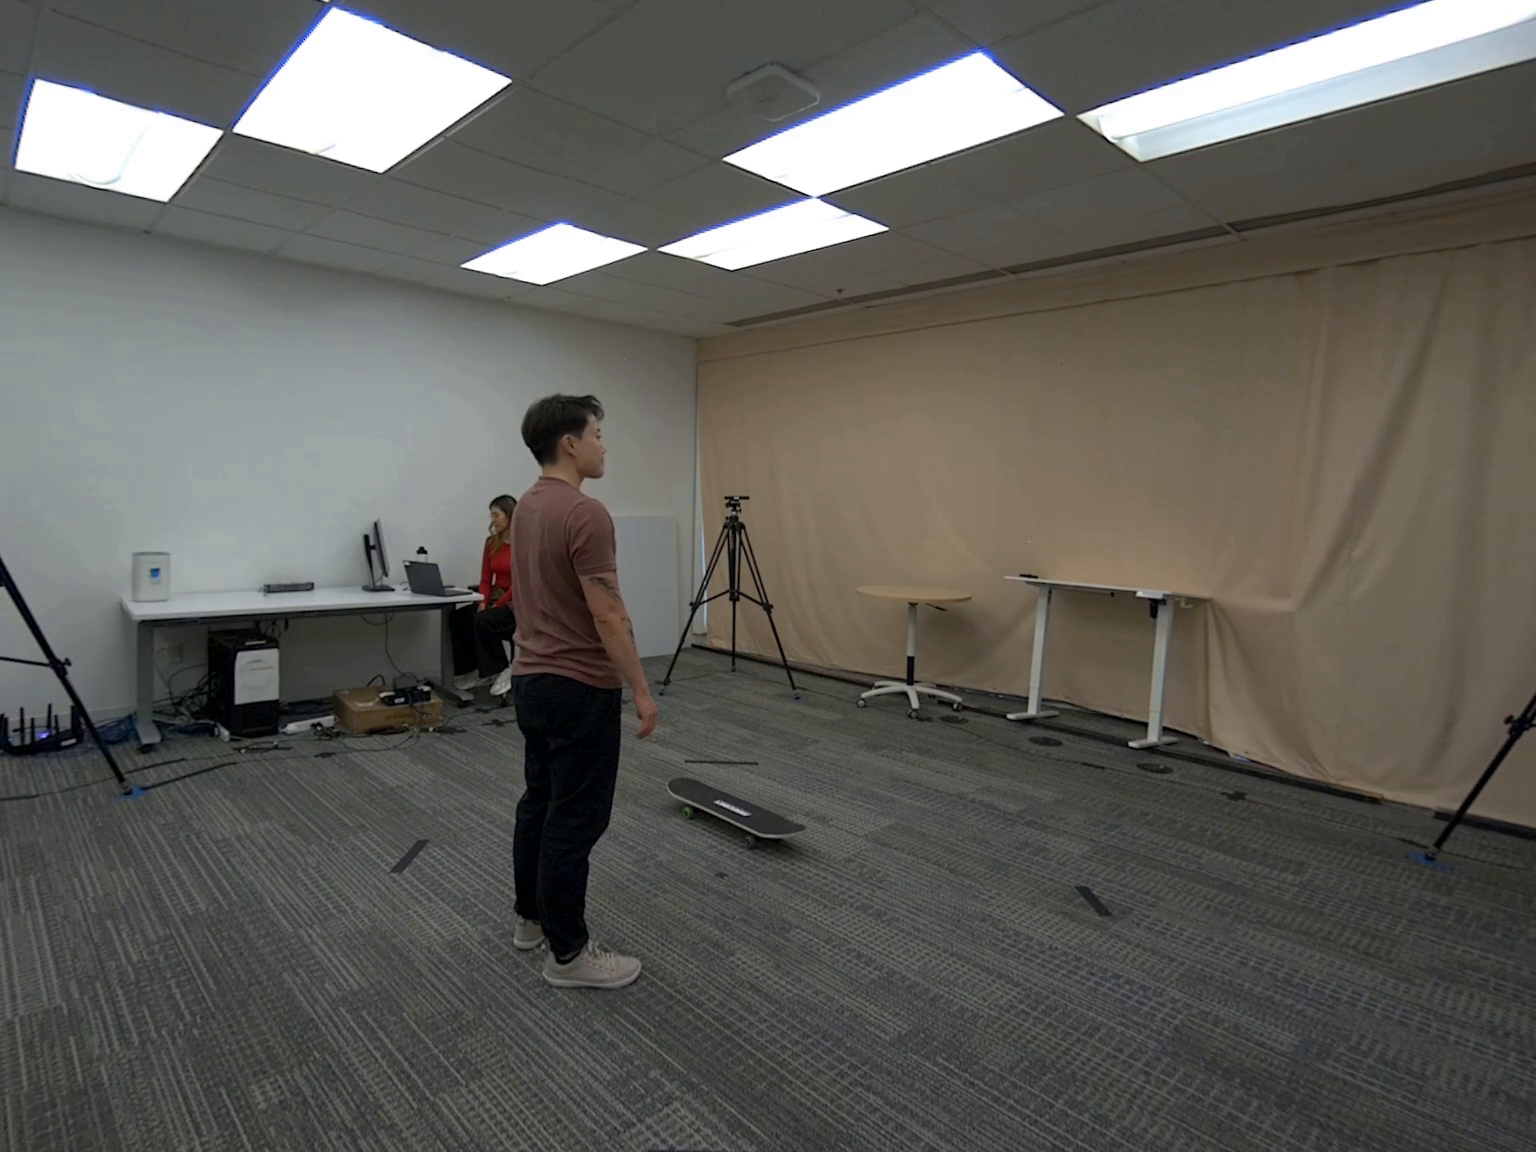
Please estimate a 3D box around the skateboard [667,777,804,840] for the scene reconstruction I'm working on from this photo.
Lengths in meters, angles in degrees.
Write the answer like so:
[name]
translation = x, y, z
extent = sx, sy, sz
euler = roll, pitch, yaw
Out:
[skateboard]
translation = -0.163, 1.012, 3.551
extent = 0.189, 0.110, 0.806
euler = -4, 8, -42
